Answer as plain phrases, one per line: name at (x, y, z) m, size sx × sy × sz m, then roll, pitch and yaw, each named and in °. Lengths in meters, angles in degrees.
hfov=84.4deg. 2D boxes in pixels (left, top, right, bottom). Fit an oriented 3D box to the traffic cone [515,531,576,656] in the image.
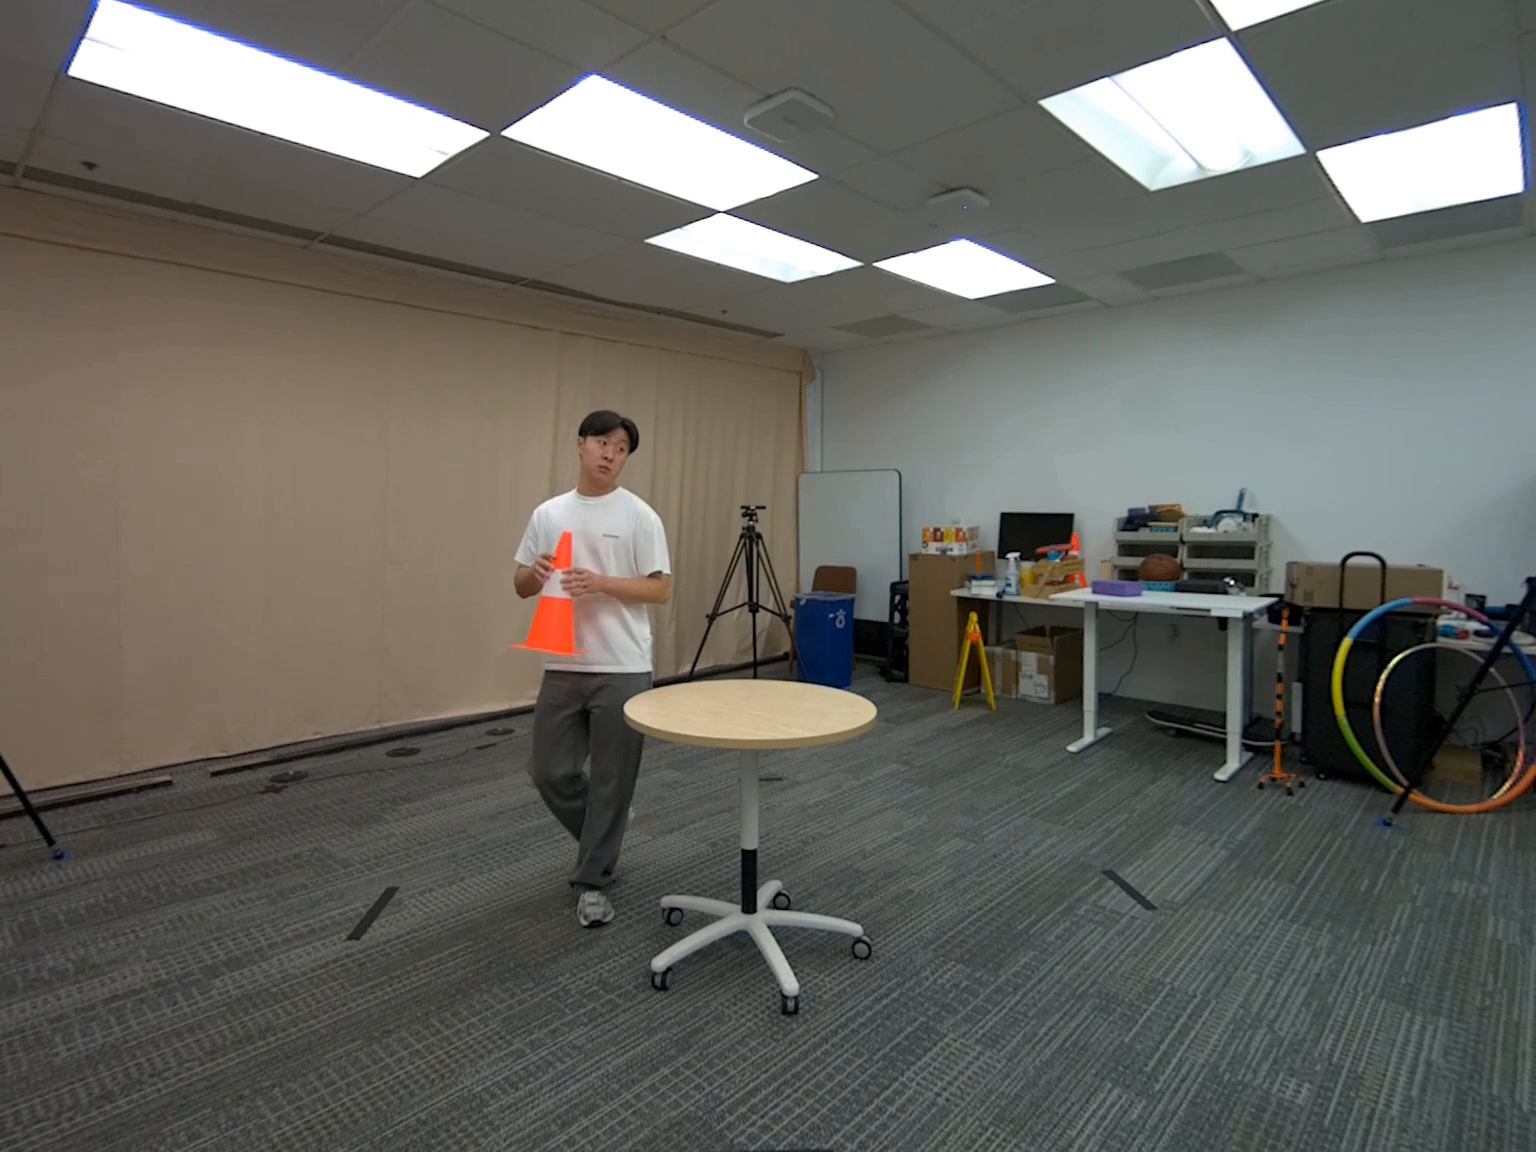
traffic cone at (-0.669, 0.046, 2.713) m, size 0.208 × 0.384 × 0.200 m, roll 6°, pitch -3°, yaw 12°
